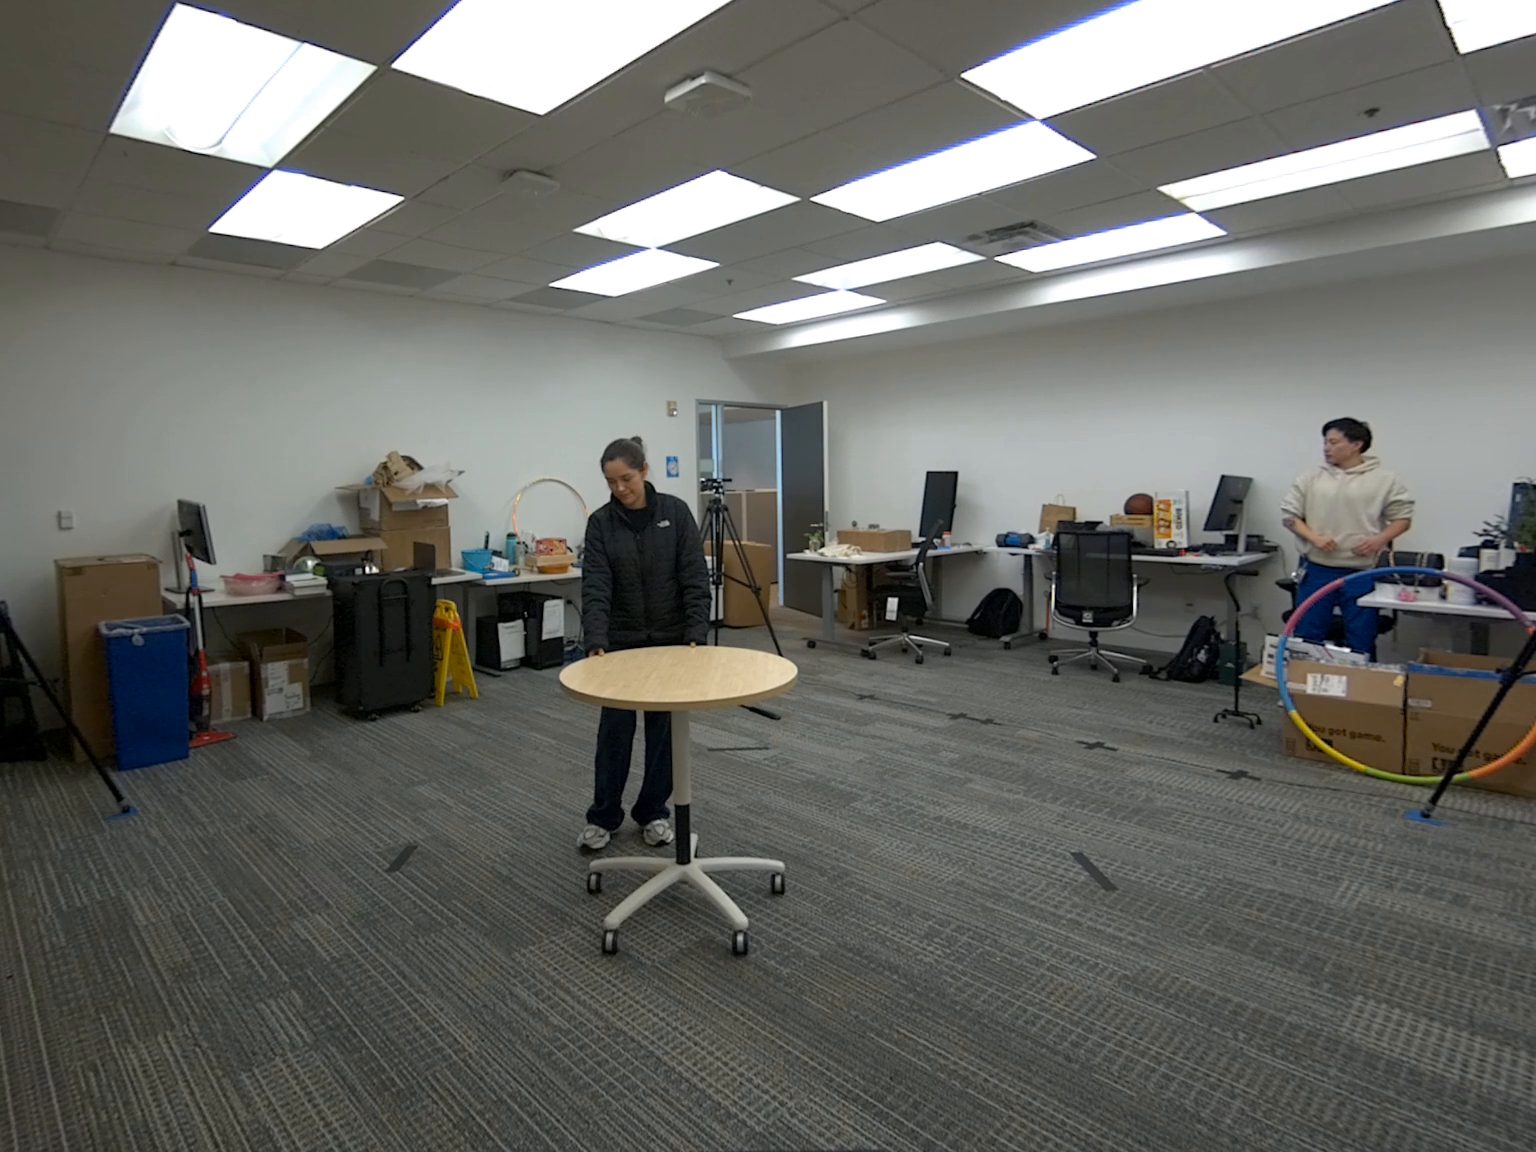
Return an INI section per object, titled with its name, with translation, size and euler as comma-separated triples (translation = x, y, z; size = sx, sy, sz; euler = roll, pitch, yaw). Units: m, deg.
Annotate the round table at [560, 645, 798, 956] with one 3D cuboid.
[round table]
translation = -0.278, 0.690, 2.811
size = 0.784, 0.783, 0.789
euler = -1, 5, -2
